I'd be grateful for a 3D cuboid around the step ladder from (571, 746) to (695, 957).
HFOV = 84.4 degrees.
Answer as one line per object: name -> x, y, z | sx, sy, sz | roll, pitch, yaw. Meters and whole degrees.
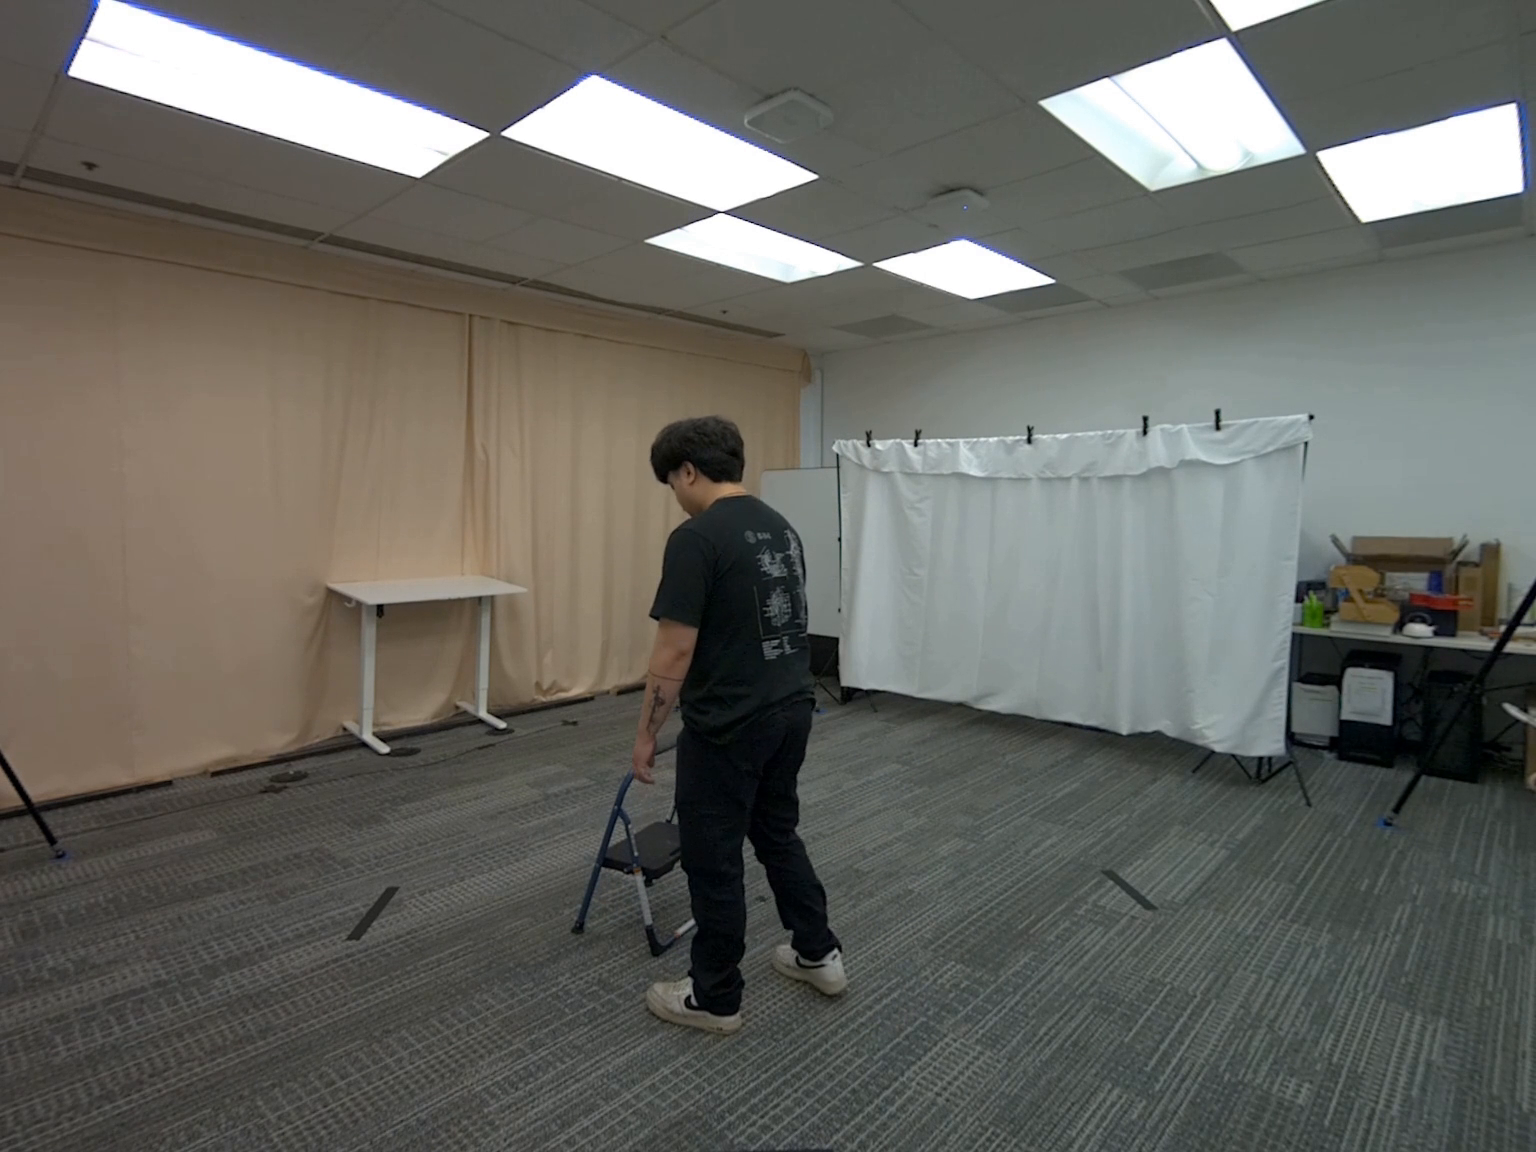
step ladder -> -0.399, 0.854, 2.839 | 0.359, 0.605, 0.419 | 0, 3, 29
